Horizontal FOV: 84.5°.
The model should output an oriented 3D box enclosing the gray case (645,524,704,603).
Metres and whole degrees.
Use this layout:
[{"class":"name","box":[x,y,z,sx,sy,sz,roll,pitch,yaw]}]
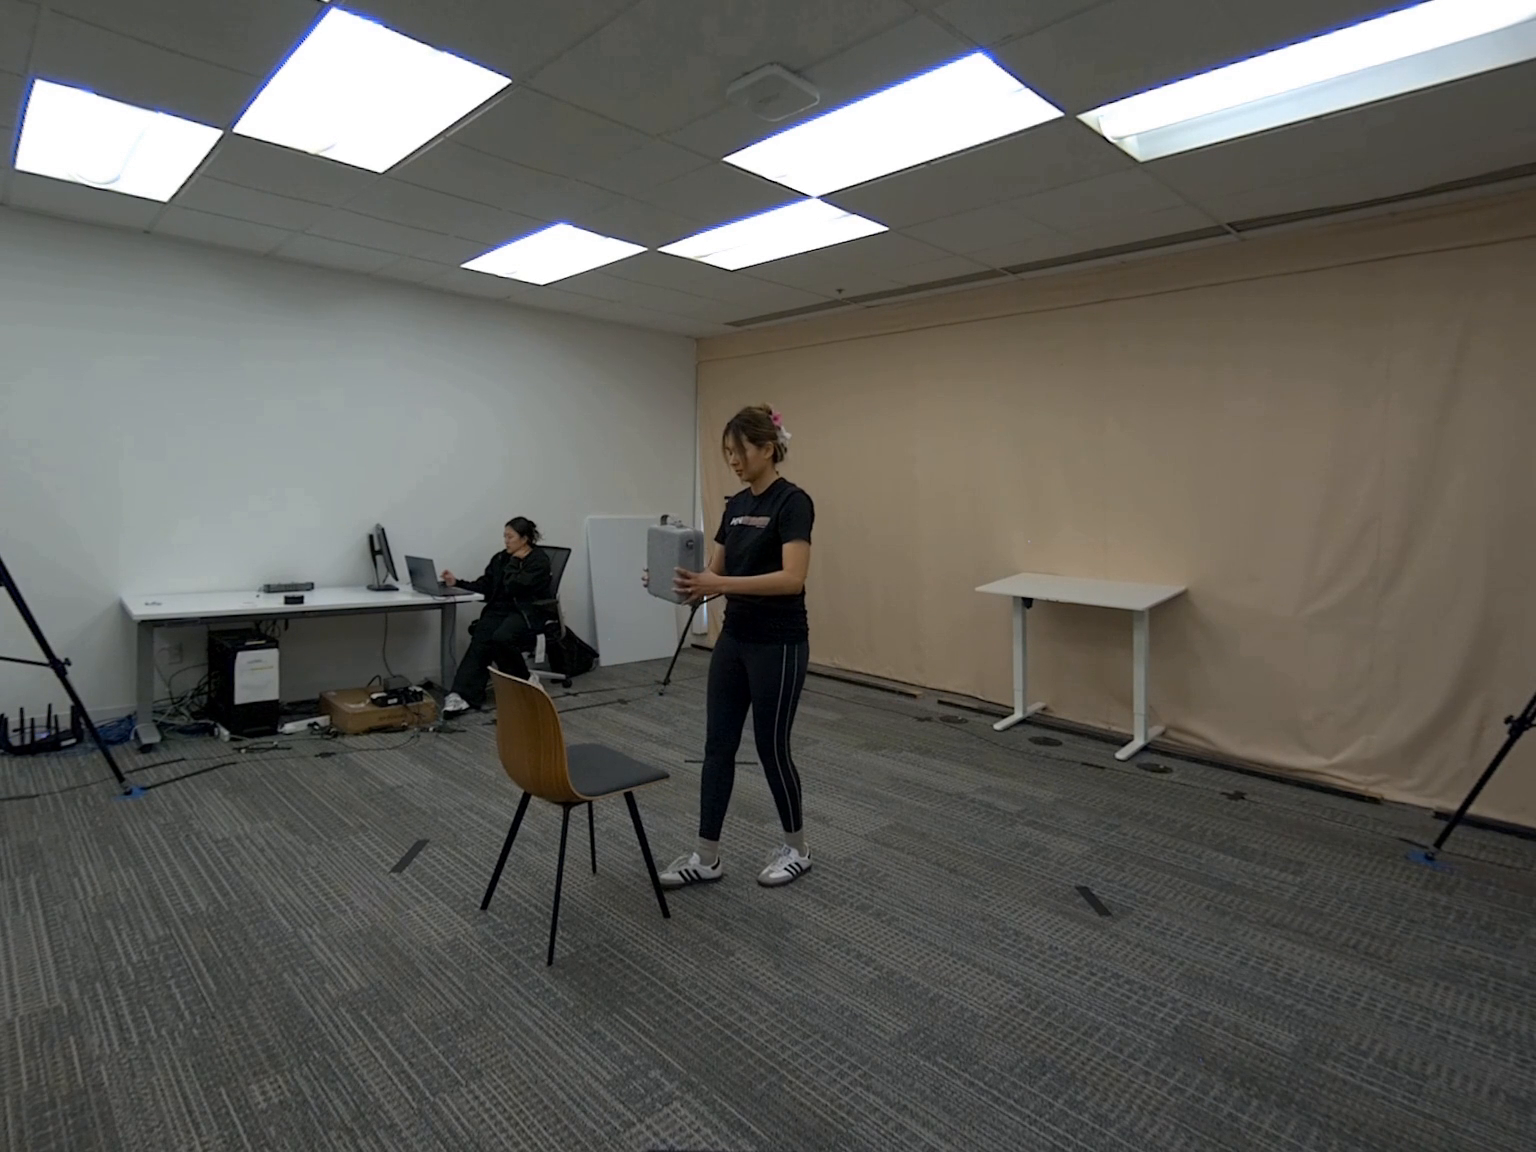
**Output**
[{"class":"gray case","box":[-0.314,-0.046,2.840,0.102,0.259,0.263,-6,9,-30]}]
